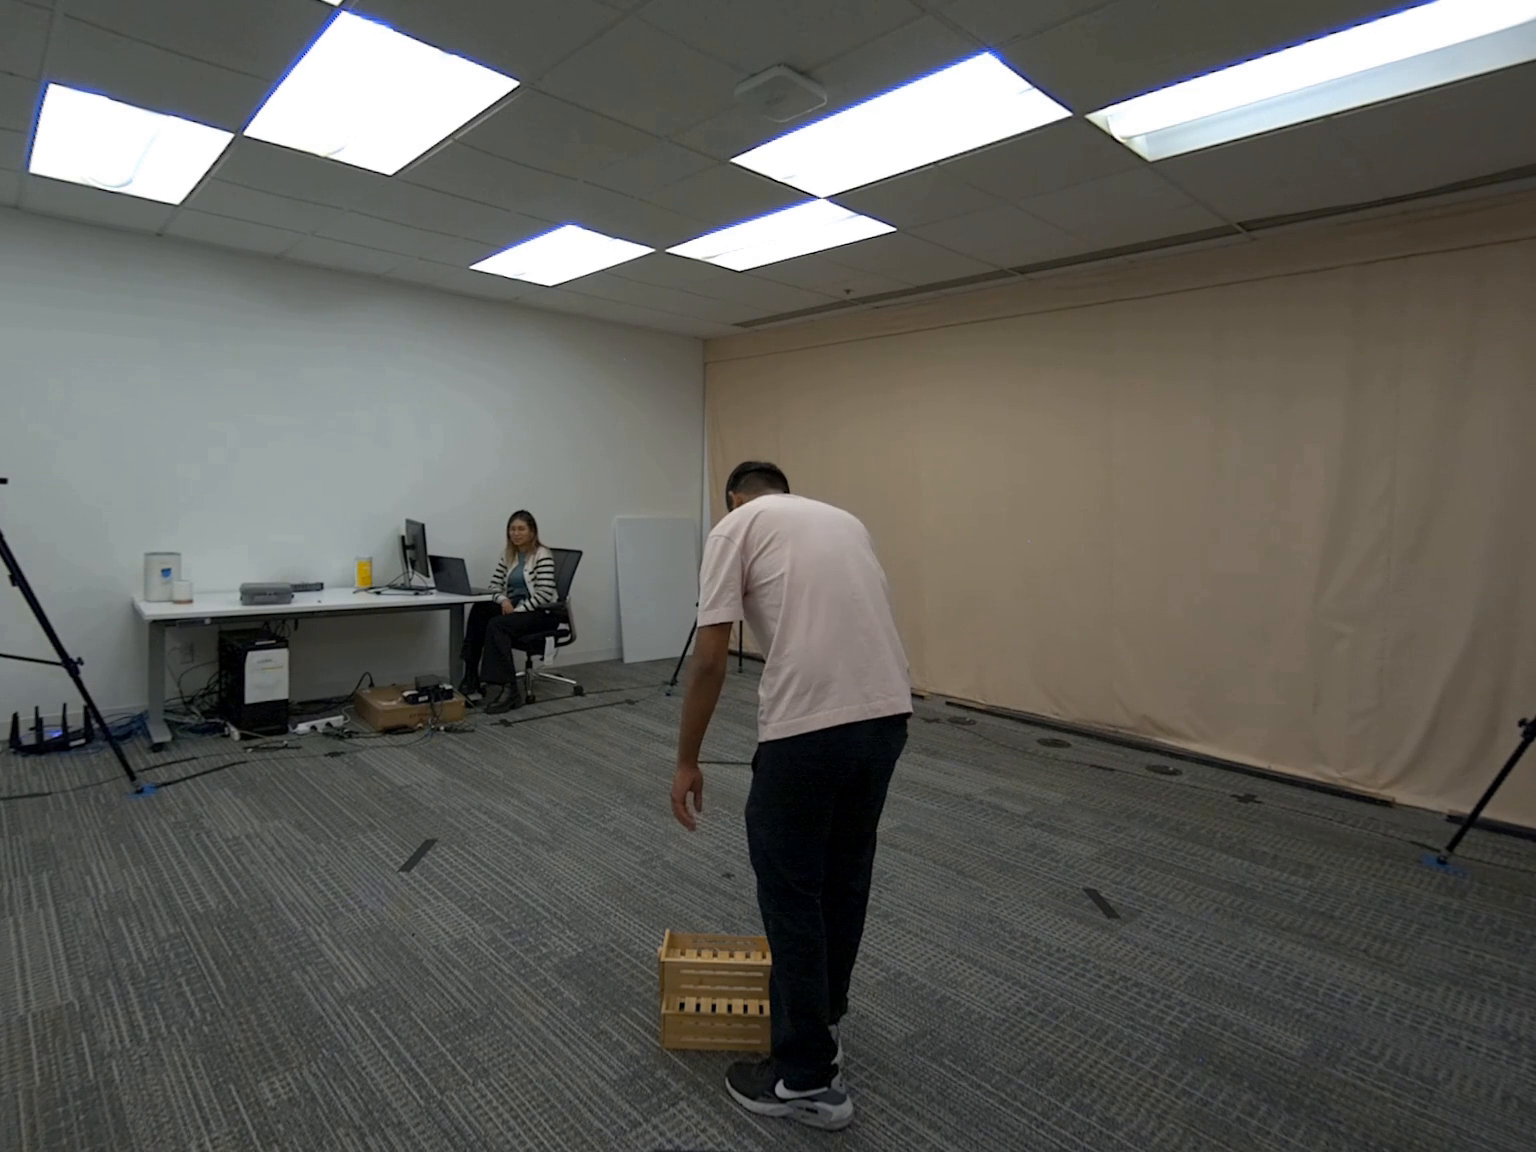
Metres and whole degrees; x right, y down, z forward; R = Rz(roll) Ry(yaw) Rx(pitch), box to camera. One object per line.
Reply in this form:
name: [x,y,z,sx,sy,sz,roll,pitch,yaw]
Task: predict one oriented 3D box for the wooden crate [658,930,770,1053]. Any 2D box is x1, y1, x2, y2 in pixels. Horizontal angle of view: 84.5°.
wooden crate: [-0.126,1.057,2.211,0.324,0.272,0.303,2,6,-2]
